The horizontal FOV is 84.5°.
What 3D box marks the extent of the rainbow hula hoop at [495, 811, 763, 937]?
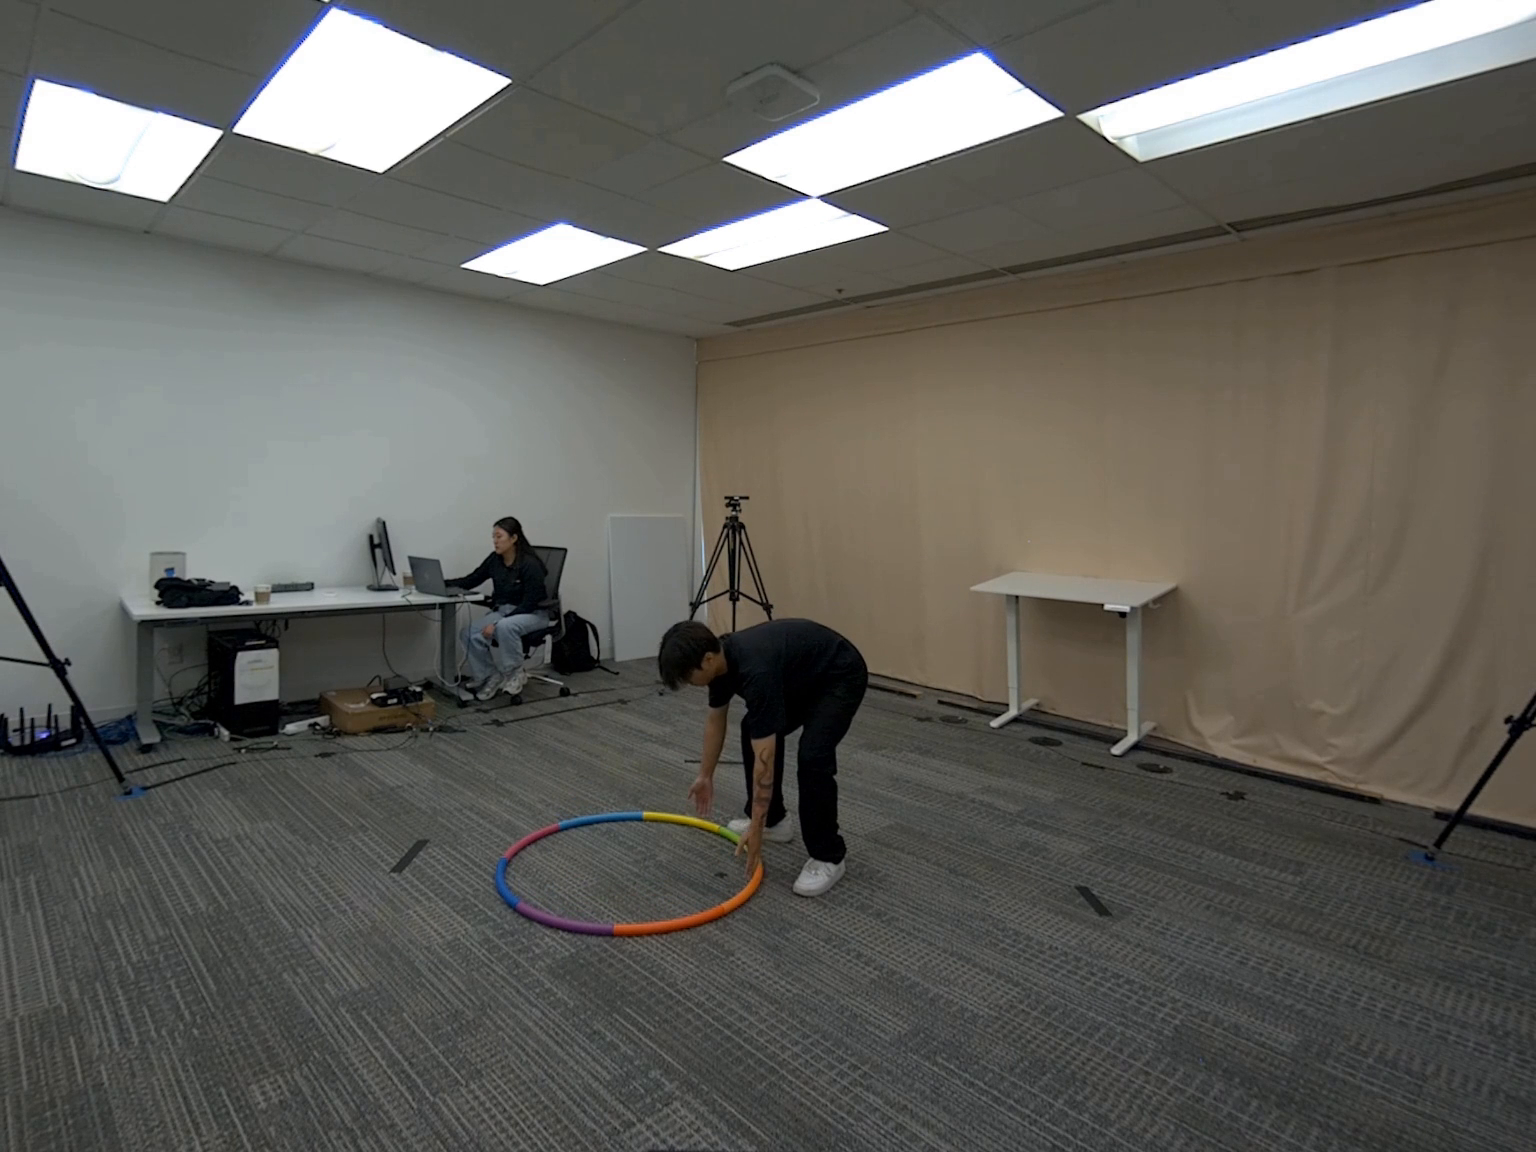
[{"bbox_3d":[-0.510,1.062,3.136,0.978,0.035,0.982,1,5,-1],"label":"rainbow hula hoop"}]
